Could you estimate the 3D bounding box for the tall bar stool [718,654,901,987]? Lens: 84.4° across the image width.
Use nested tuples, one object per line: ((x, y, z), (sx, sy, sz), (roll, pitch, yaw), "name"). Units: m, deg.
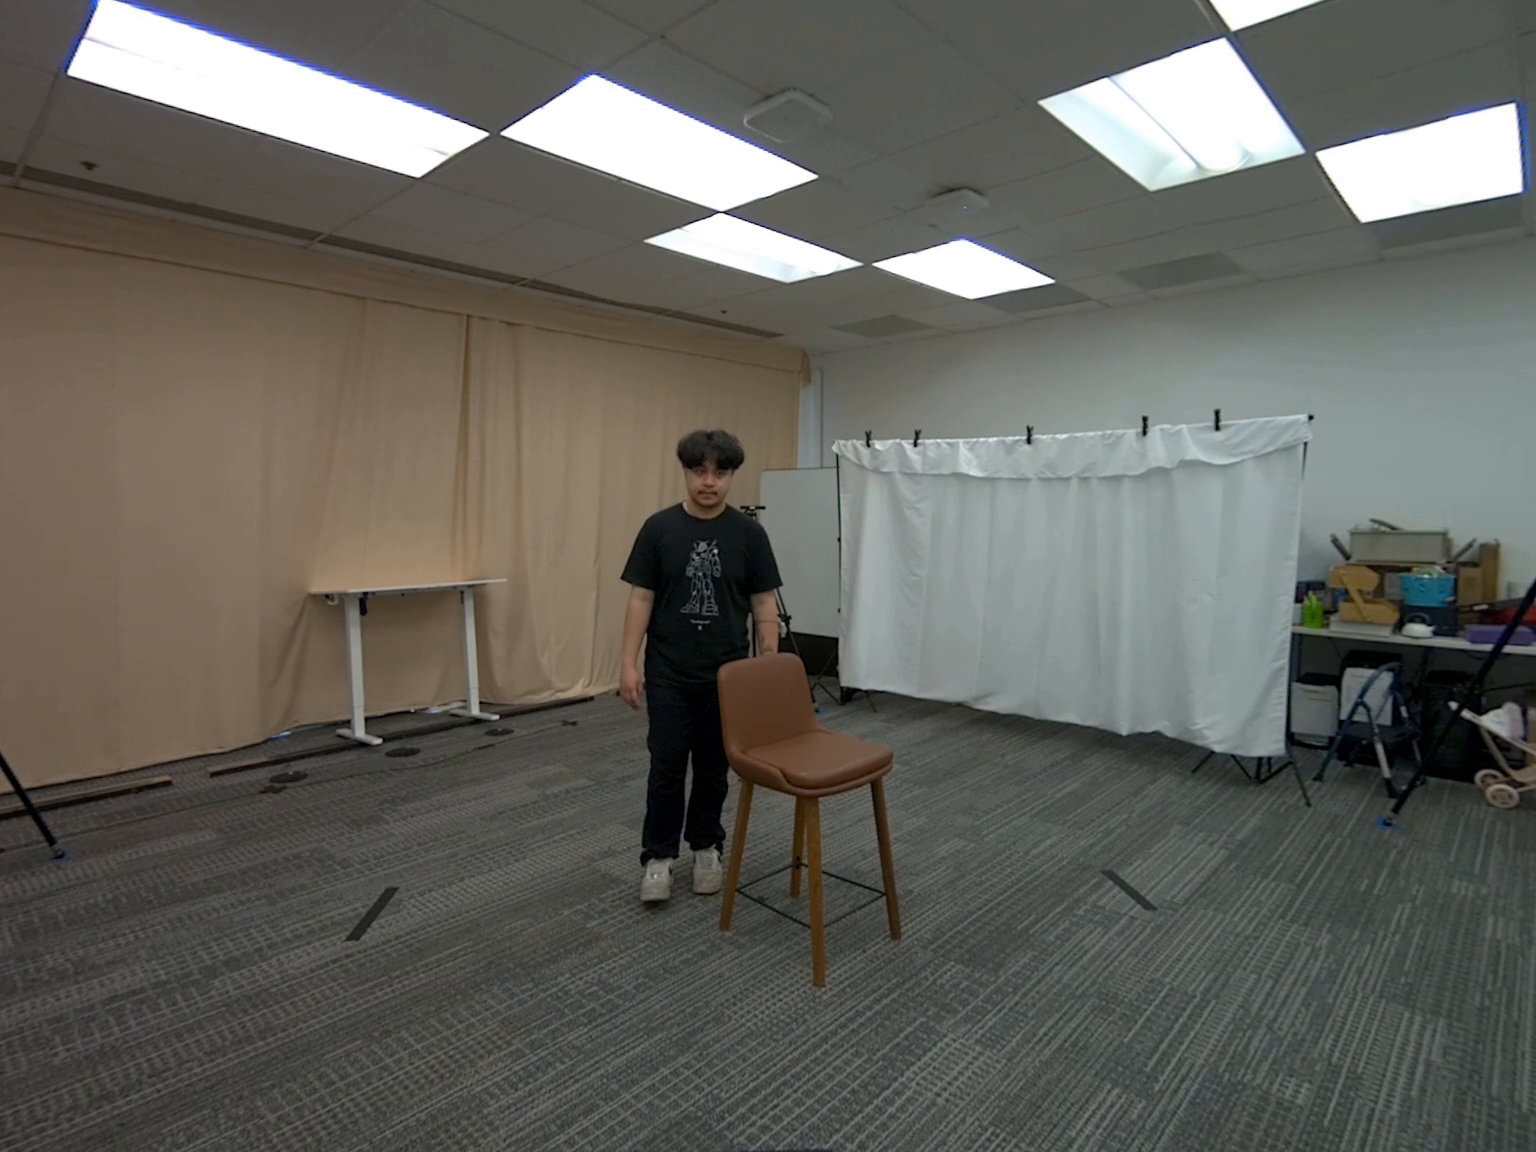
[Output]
((0.130, 0.732, 2.717), (0.442, 0.889, 0.483), (-3, 3, -44), "tall bar stool")
